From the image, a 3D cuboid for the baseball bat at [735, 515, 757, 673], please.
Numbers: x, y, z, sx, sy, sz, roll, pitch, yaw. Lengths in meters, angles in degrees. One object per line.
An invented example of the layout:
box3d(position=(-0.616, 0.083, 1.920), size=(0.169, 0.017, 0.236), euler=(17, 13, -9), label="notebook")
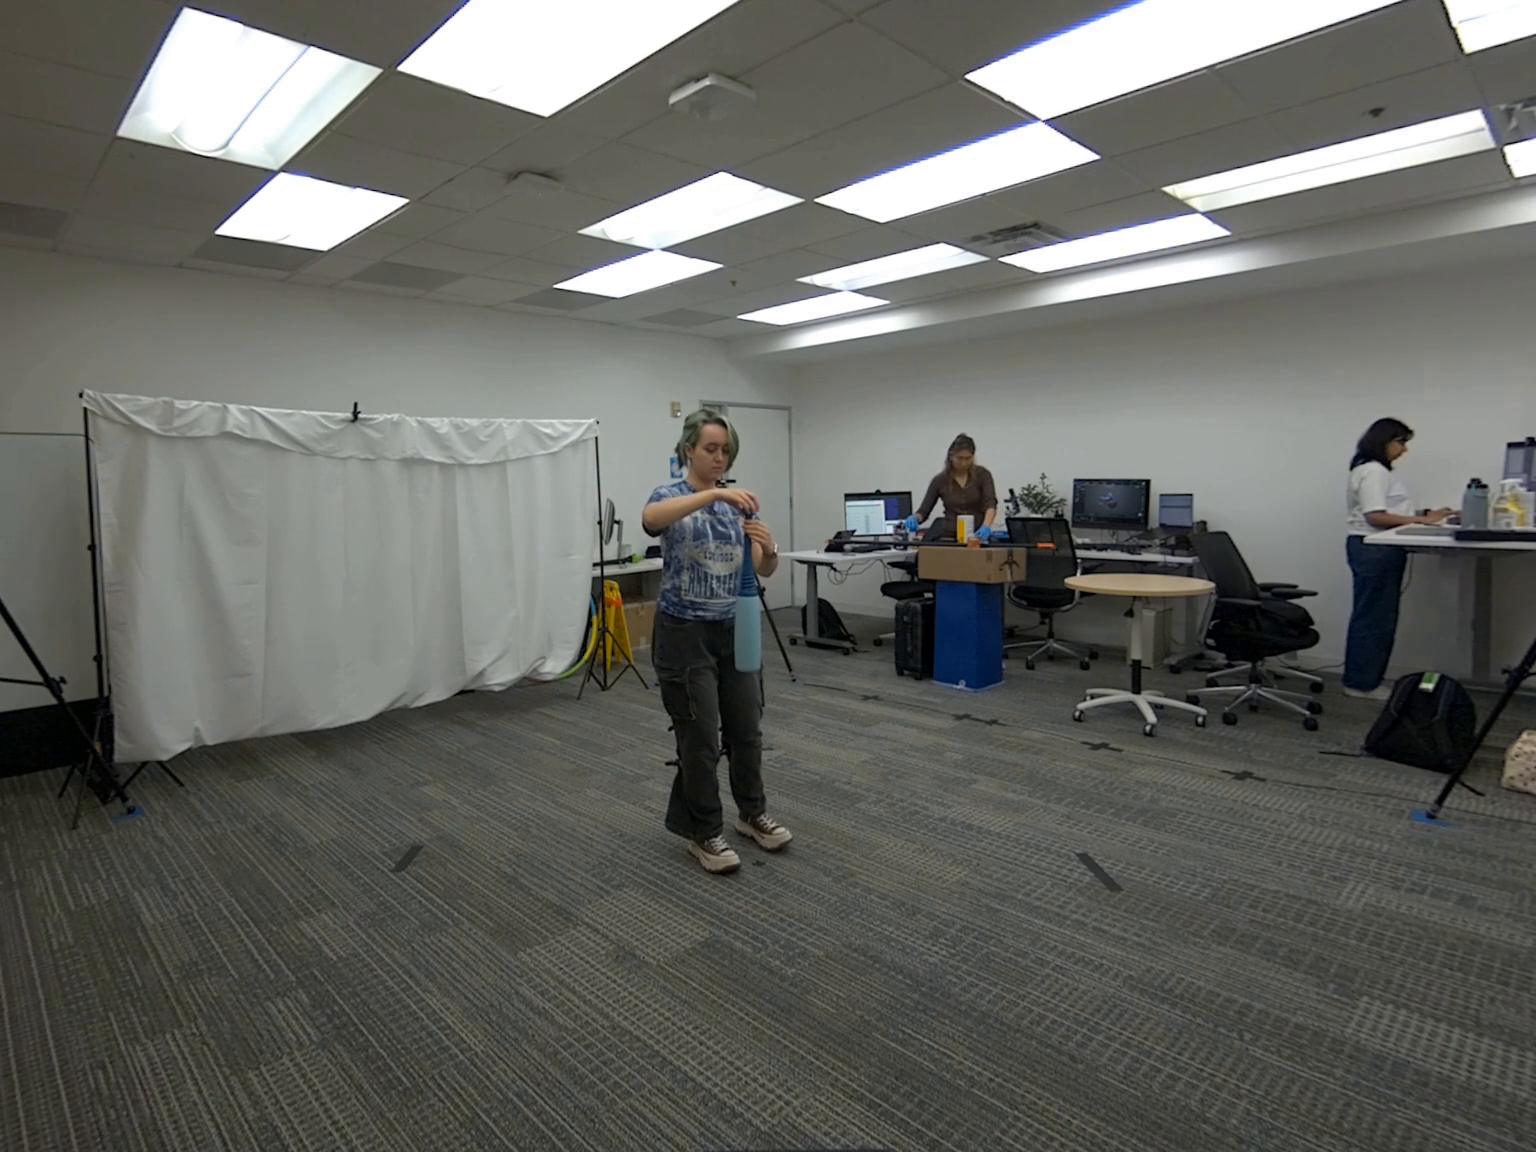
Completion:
box3d(position=(-0.089, 0.054, 2.815), size=(0.089, 0.541, 0.089), euler=(0, 4, -2), label="baseball bat")
